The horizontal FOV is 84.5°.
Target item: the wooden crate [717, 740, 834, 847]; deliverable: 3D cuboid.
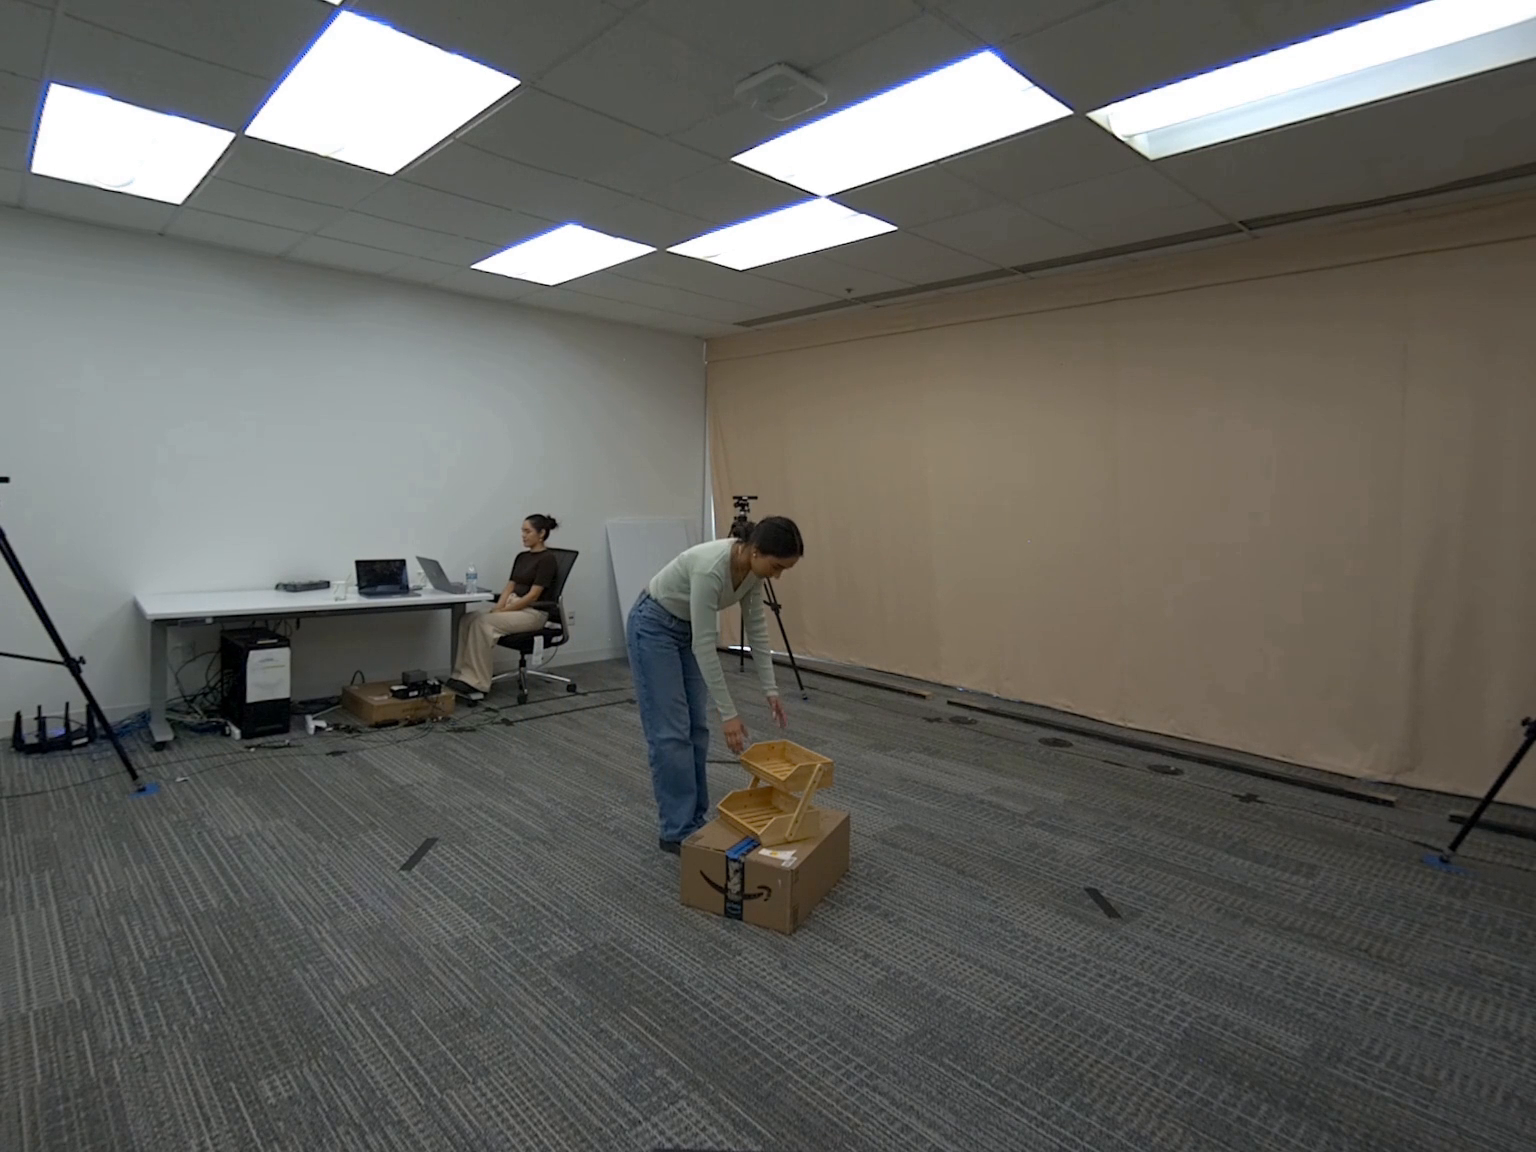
[{"bbox_3d":[0.014,0.766,3.024,0.295,0.273,0.332,0,3,-32],"label":"wooden crate"}]
